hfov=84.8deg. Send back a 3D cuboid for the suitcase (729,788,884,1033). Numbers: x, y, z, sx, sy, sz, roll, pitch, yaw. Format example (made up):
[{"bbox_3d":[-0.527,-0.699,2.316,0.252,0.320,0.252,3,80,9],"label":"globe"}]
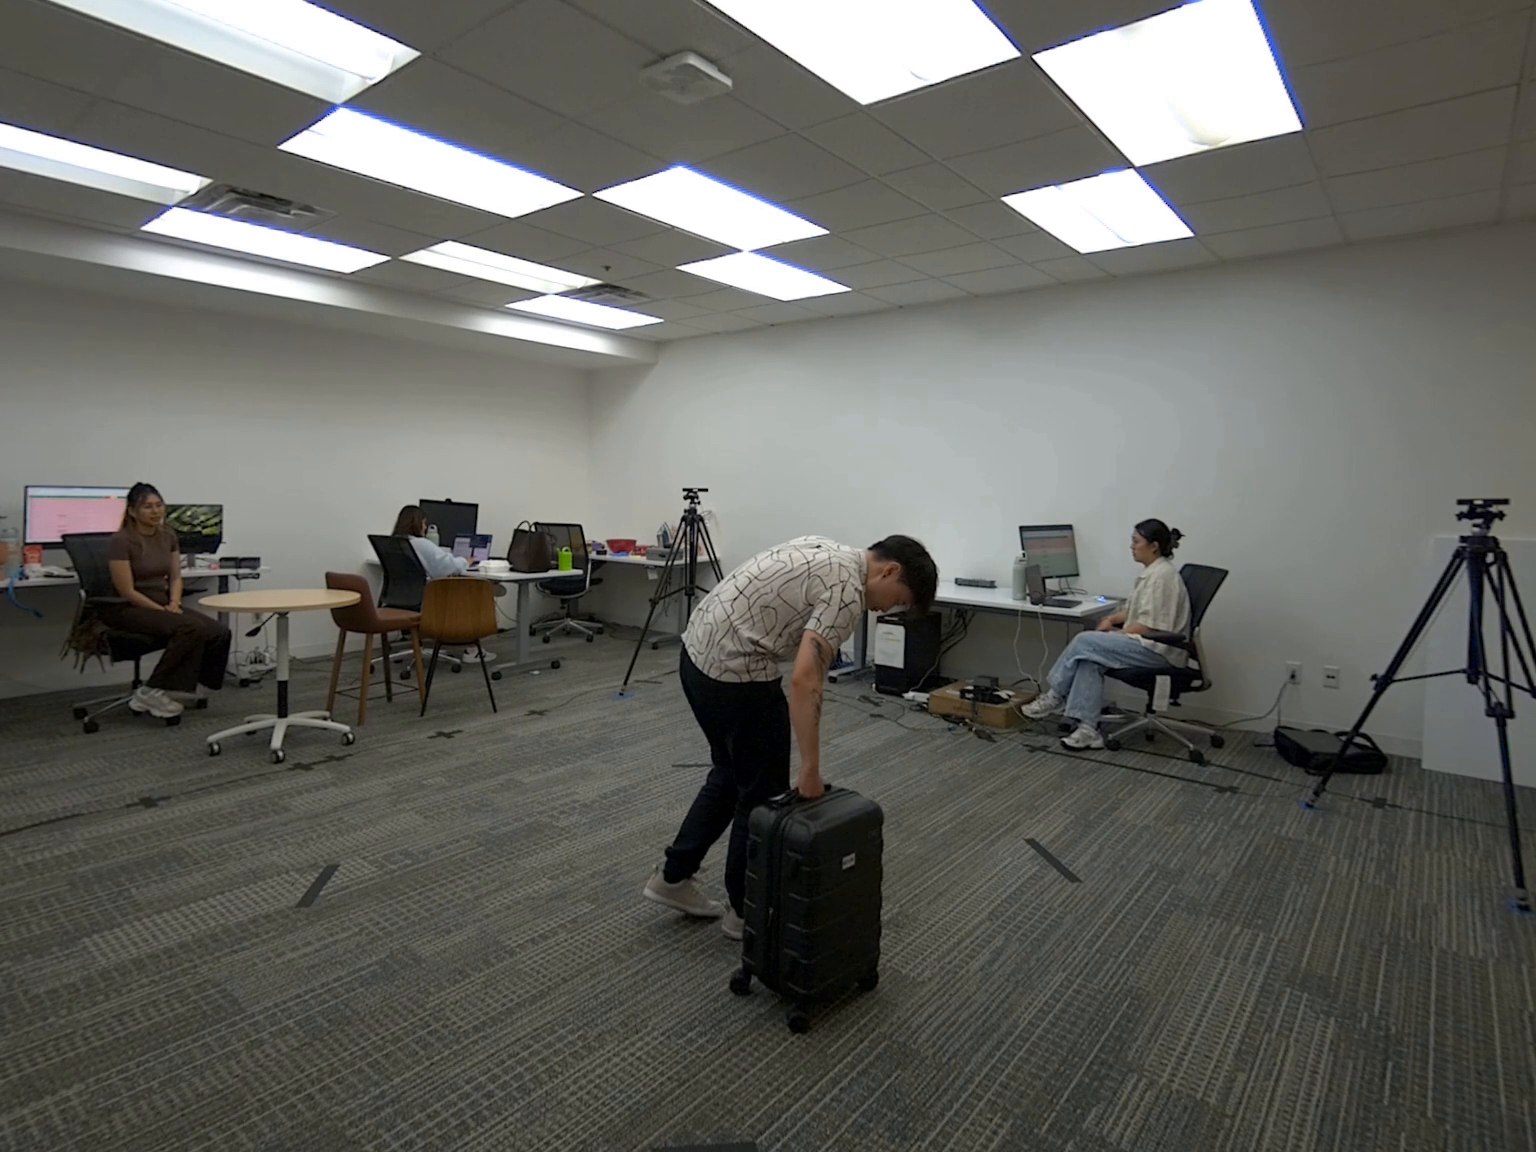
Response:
[{"bbox_3d":[0.129,0.876,2.359,0.363,0.548,0.257,0,4,-45],"label":"suitcase"}]
